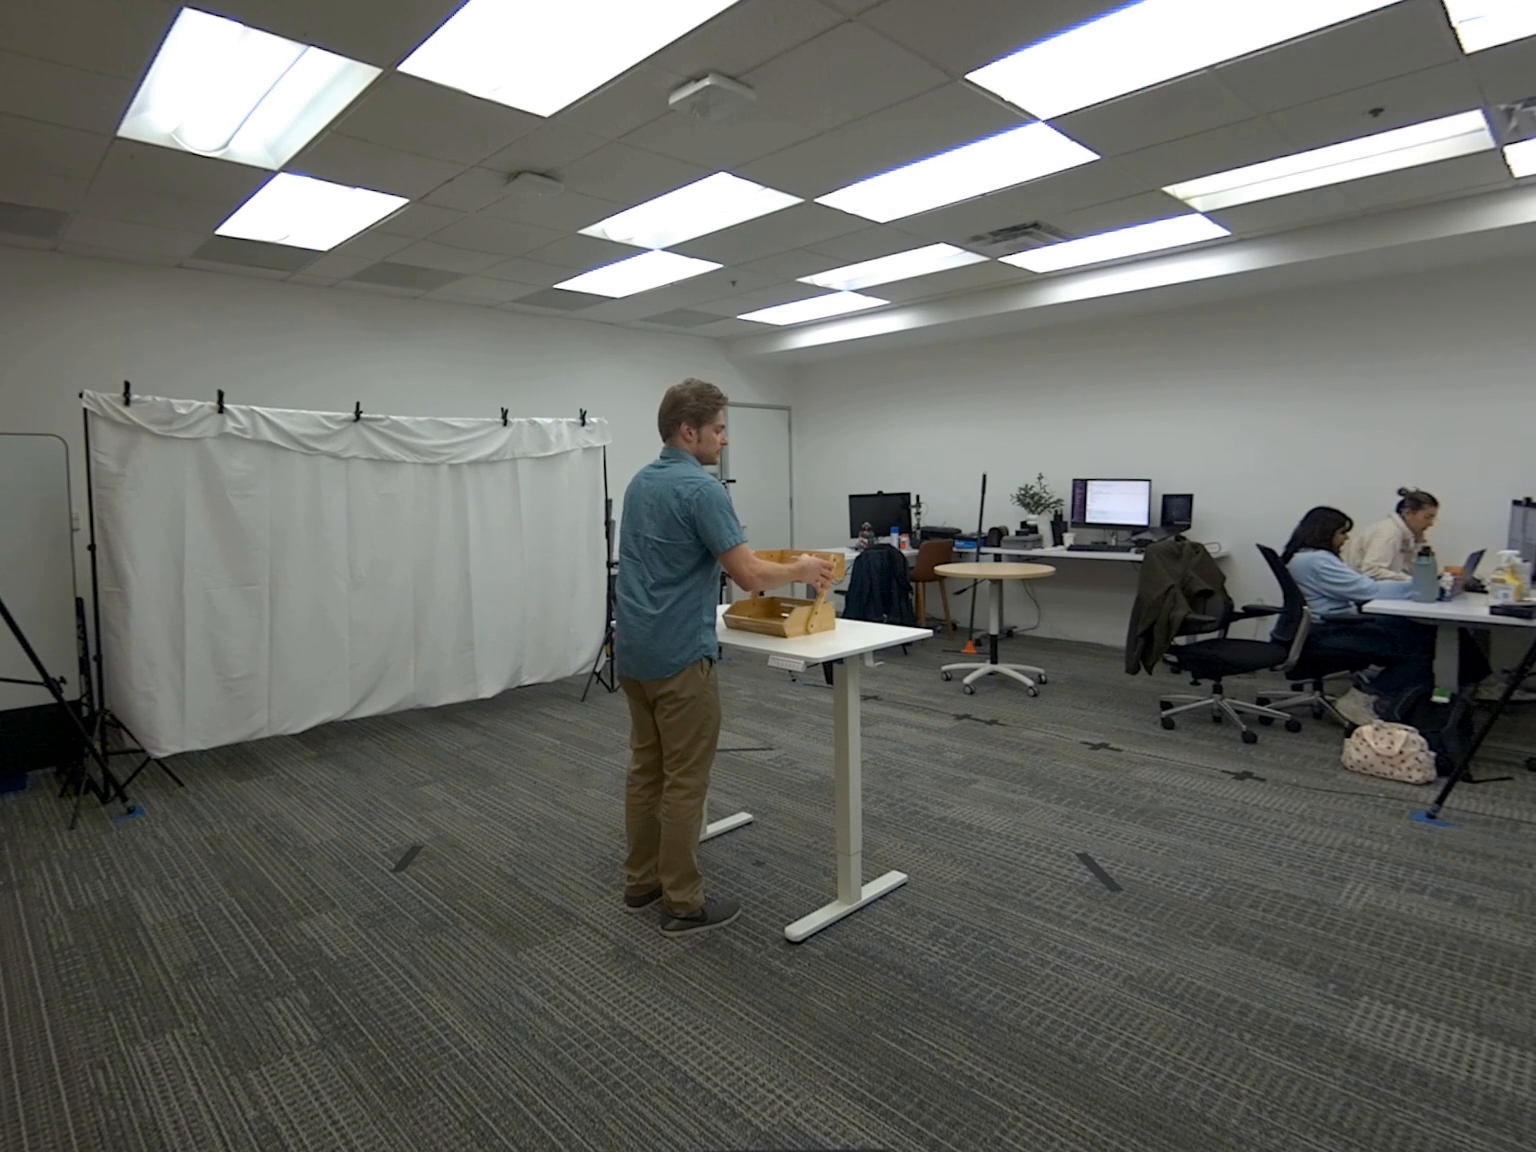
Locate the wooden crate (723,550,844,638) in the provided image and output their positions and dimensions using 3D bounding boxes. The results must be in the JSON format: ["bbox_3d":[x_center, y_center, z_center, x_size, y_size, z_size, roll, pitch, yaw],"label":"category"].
[{"bbox_3d":[0.051,0.049,2.943,0.294,0.272,0.334,-4,5,-43],"label":"wooden crate"}]
